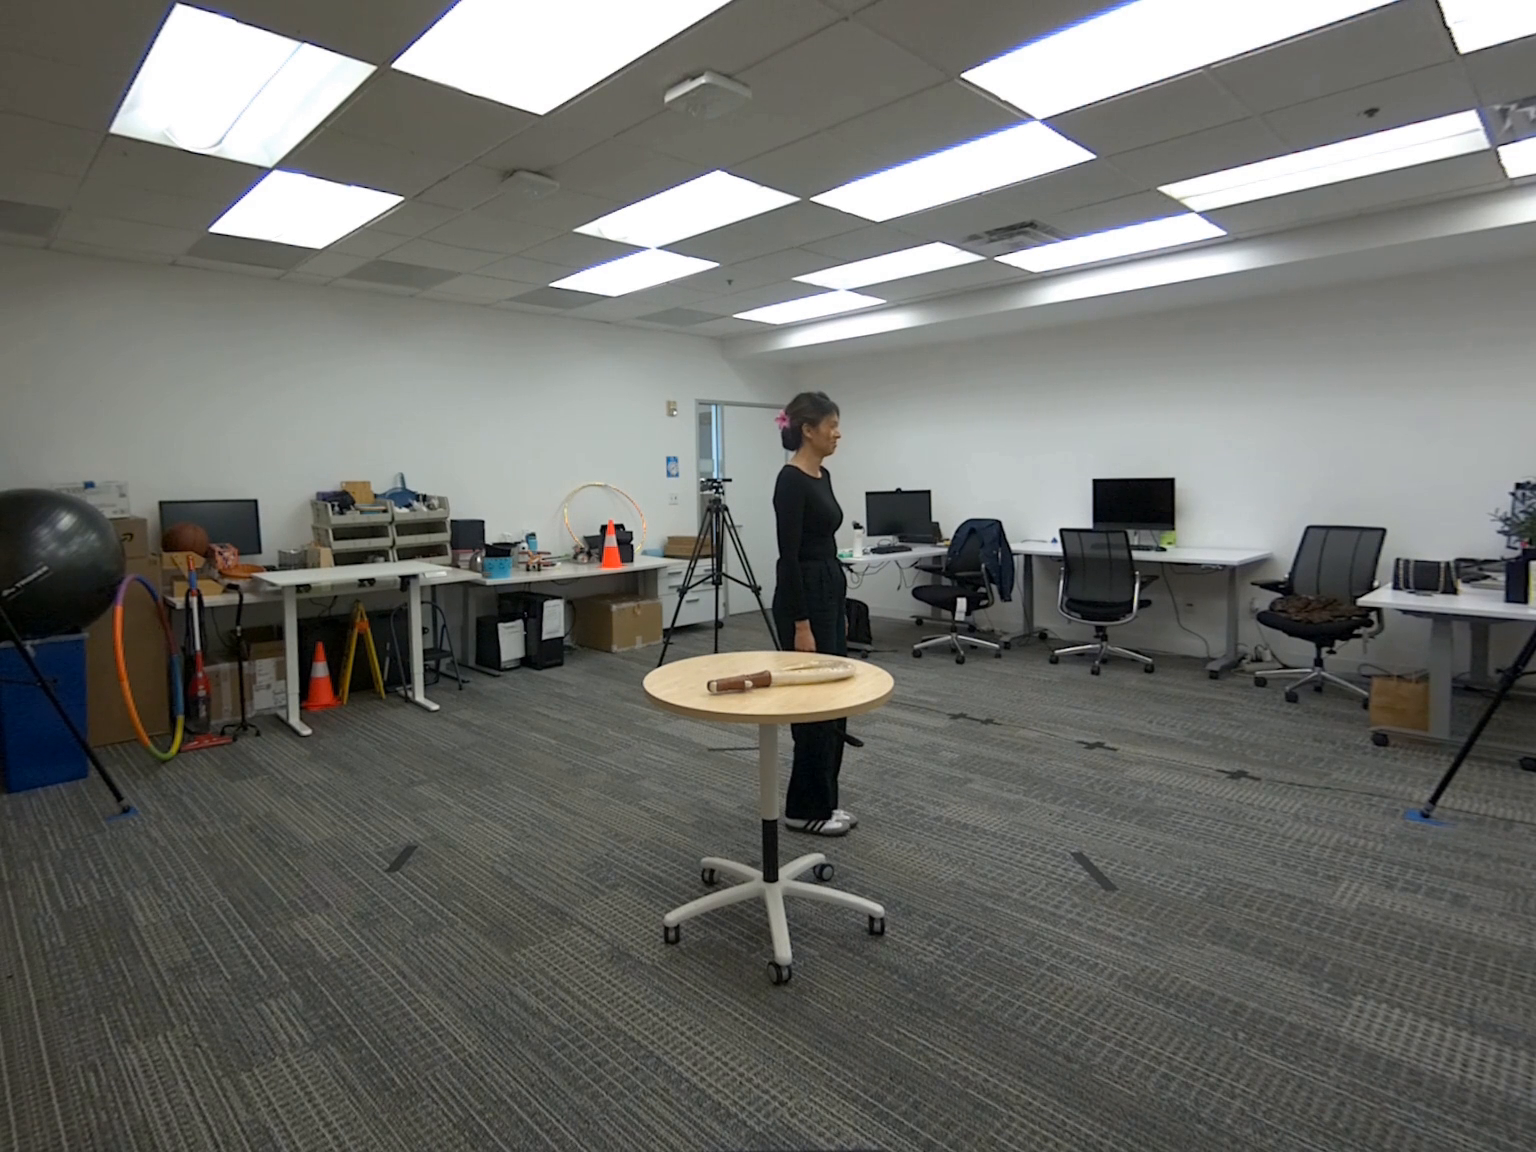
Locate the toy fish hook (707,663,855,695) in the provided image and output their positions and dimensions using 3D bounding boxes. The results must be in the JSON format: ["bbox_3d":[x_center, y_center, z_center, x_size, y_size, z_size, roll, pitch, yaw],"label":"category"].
[{"bbox_3d":[0.034,0.308,2.601,0.496,0.048,0.229,-3,-2,-25],"label":"toy fish hook"}]
